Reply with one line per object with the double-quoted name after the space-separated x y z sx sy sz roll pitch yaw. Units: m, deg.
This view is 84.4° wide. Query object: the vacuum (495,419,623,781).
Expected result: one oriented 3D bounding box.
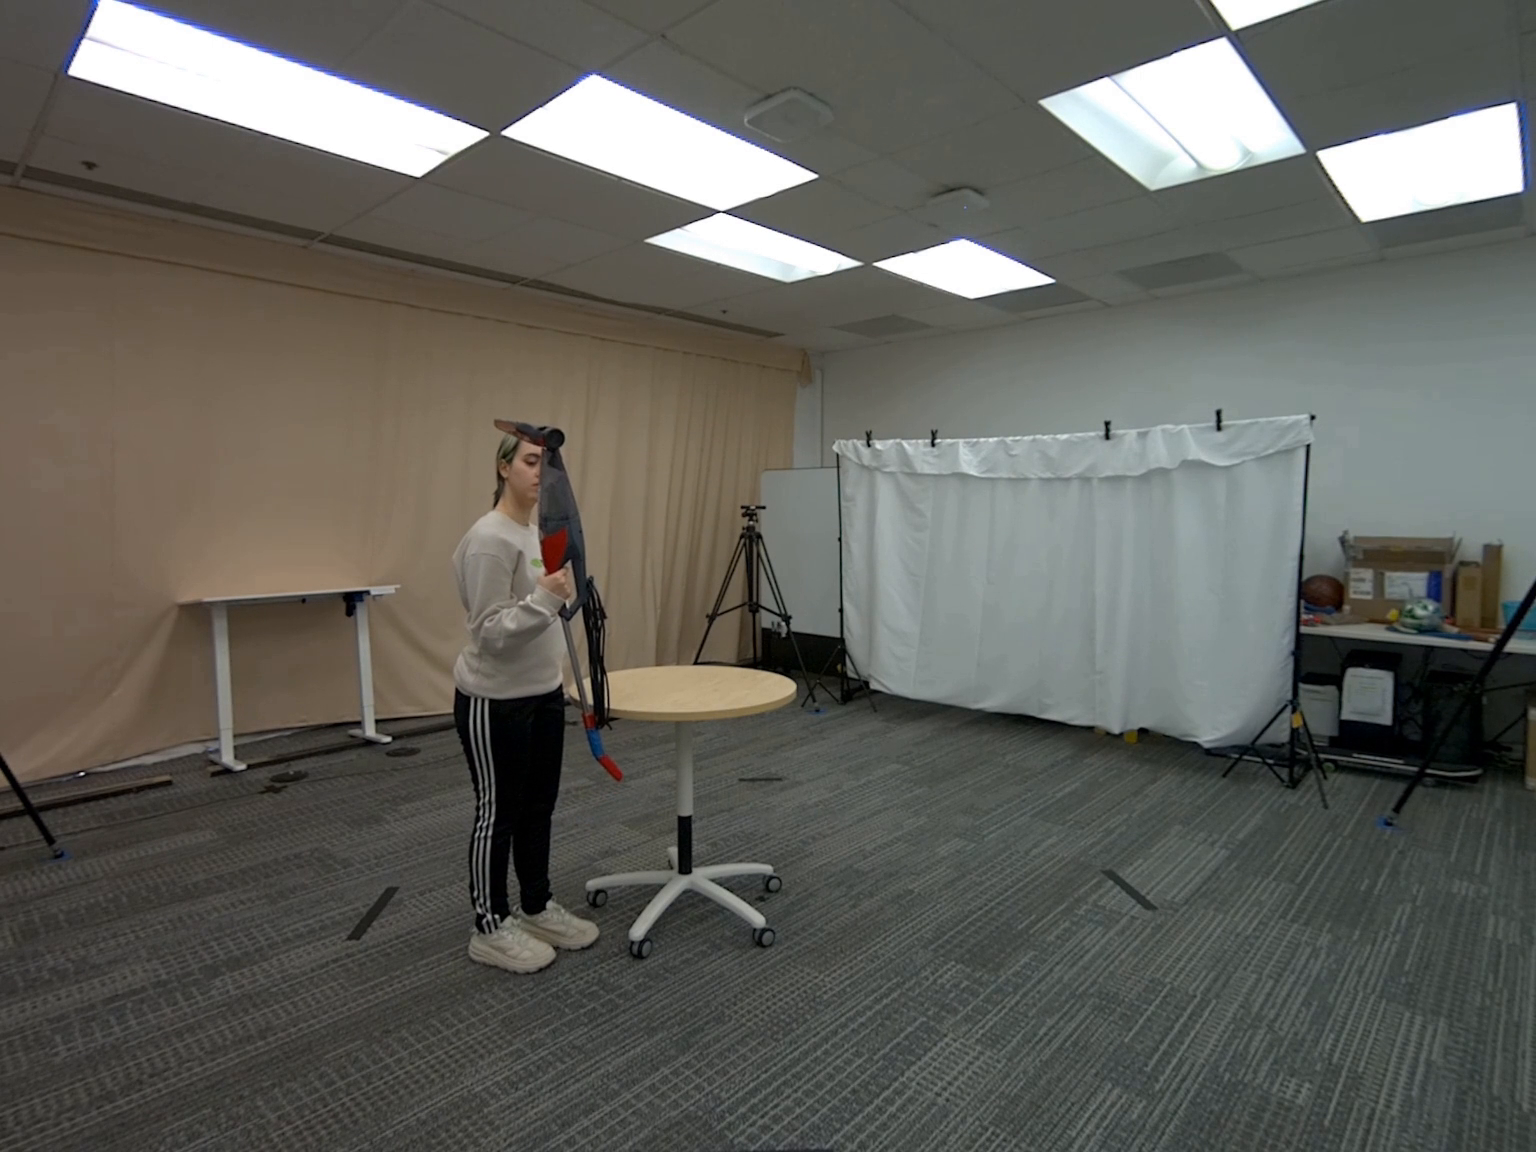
-0.538 0.103 2.315 0.141 1.036 0.260 -15 18 -25 "vacuum"
